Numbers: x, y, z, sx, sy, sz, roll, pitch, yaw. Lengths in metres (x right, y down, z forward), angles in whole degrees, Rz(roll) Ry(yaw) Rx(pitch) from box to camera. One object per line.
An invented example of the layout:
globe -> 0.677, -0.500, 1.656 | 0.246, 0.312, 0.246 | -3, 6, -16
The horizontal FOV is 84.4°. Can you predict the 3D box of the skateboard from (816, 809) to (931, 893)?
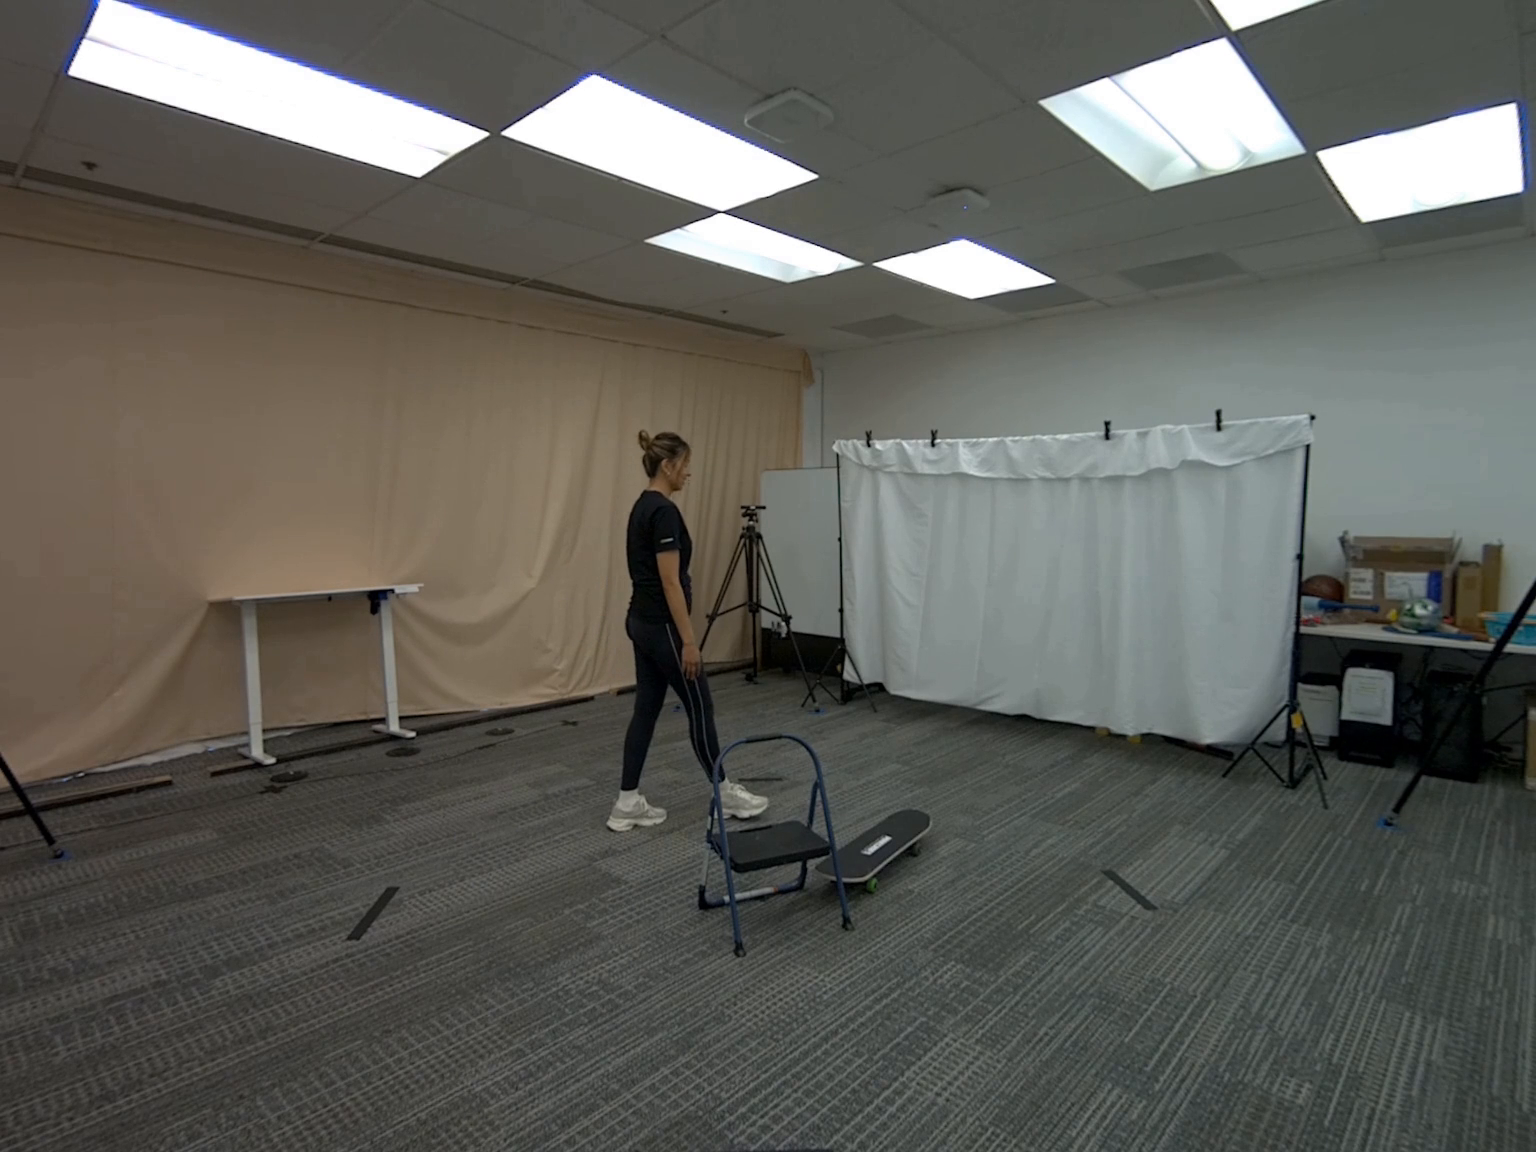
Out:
skateboard -> 0.422, 1.066, 3.233 | 0.199, 0.110, 0.763 | 2, 5, 33
